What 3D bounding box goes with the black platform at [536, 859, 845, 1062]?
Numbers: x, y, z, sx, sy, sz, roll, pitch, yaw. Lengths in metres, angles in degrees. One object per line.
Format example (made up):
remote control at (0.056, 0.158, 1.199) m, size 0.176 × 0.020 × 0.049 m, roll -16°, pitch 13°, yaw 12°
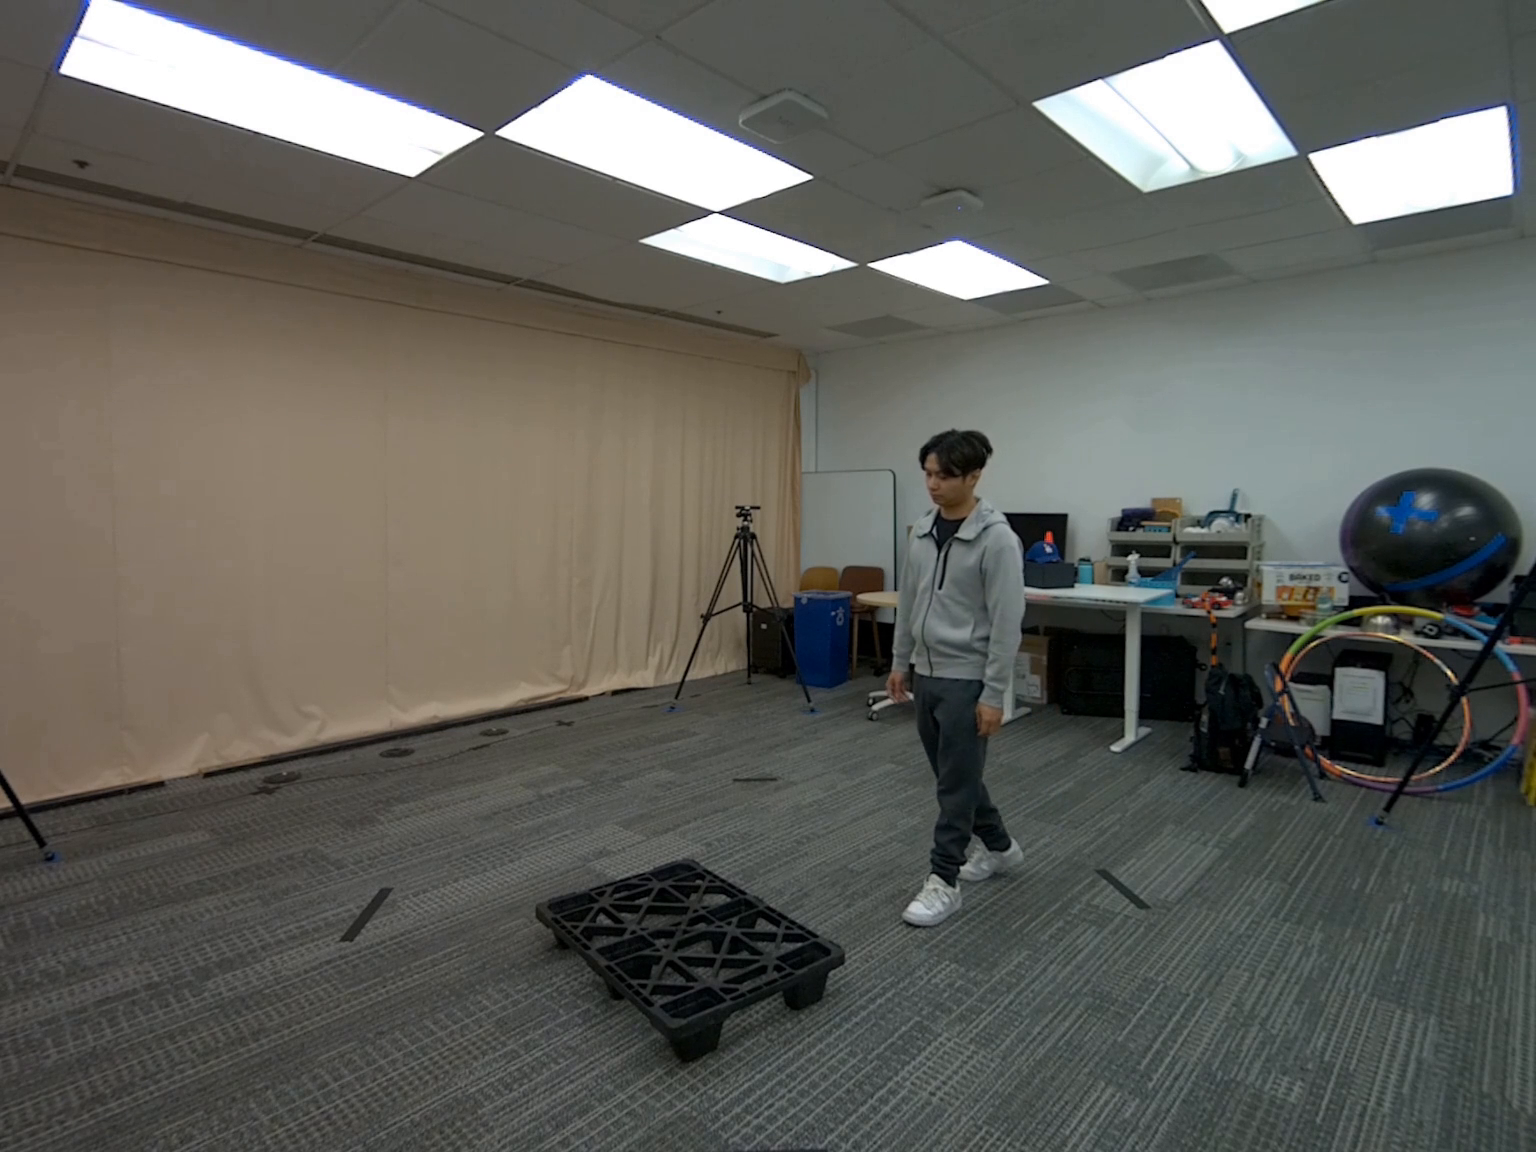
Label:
black platform at (-0.258, 1.119, 2.527) m, size 0.587 × 0.143 × 0.832 m, roll -3°, pitch 6°, yaw -38°
